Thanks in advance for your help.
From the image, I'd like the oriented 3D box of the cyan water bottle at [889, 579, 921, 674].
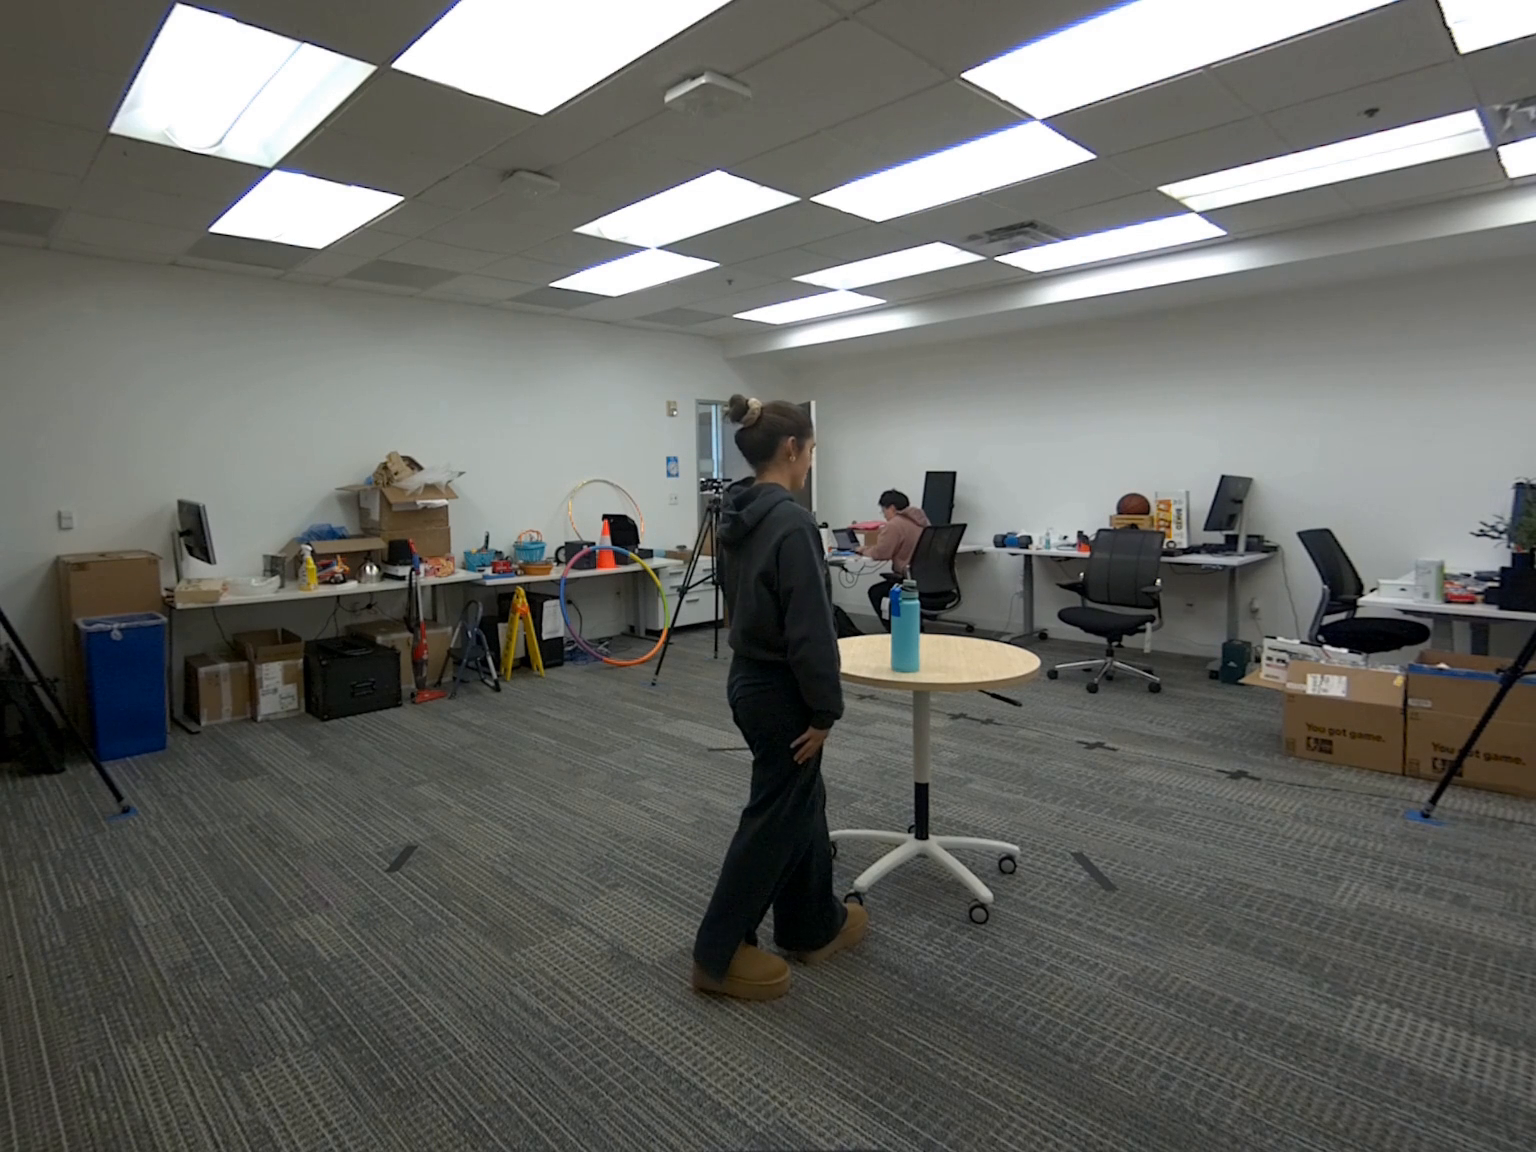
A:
[{"bbox_3d":[0.435,0.160,2.701,0.092,0.282,0.093,-1,6,-2],"label":"cyan water bottle"}]
